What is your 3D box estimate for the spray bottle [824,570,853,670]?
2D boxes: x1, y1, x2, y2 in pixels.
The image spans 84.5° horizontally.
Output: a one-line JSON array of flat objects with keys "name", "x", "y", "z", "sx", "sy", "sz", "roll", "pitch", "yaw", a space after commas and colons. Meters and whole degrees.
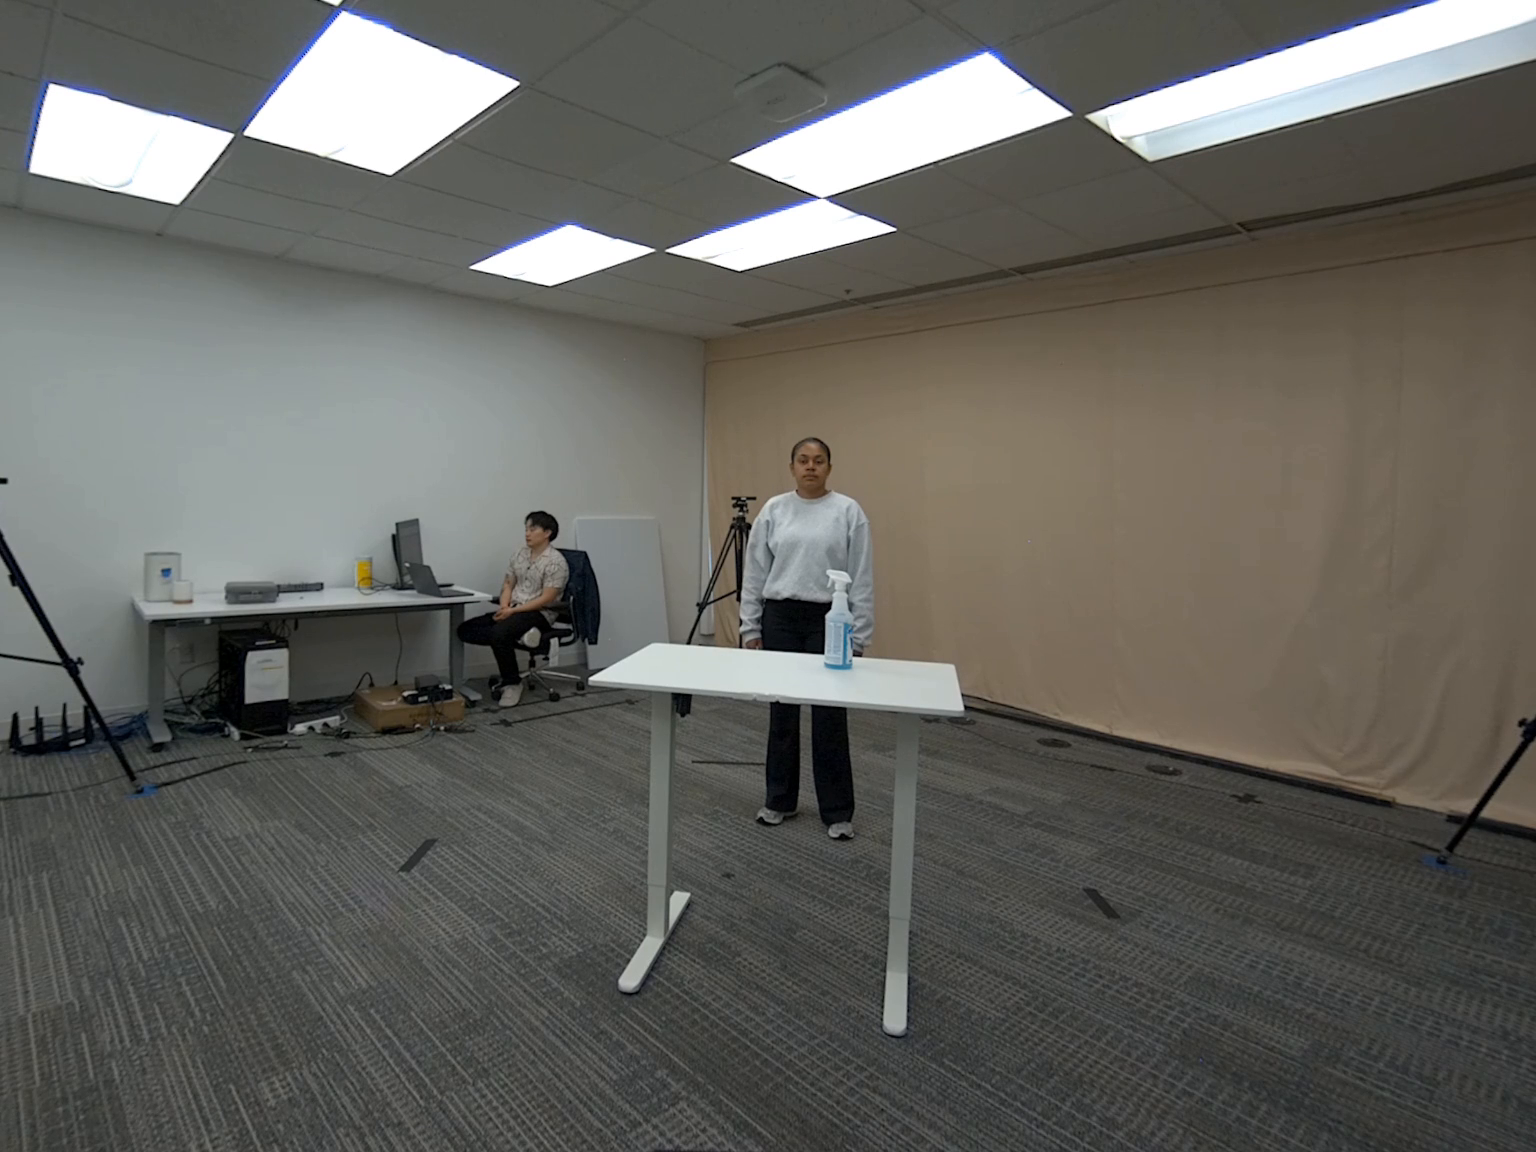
[{"name": "spray bottle", "x": 0.211, "y": 0.137, "z": 2.579, "sx": 0.086, "sy": 0.297, "sz": 0.091, "roll": 0, "pitch": 3, "yaw": -20}]
